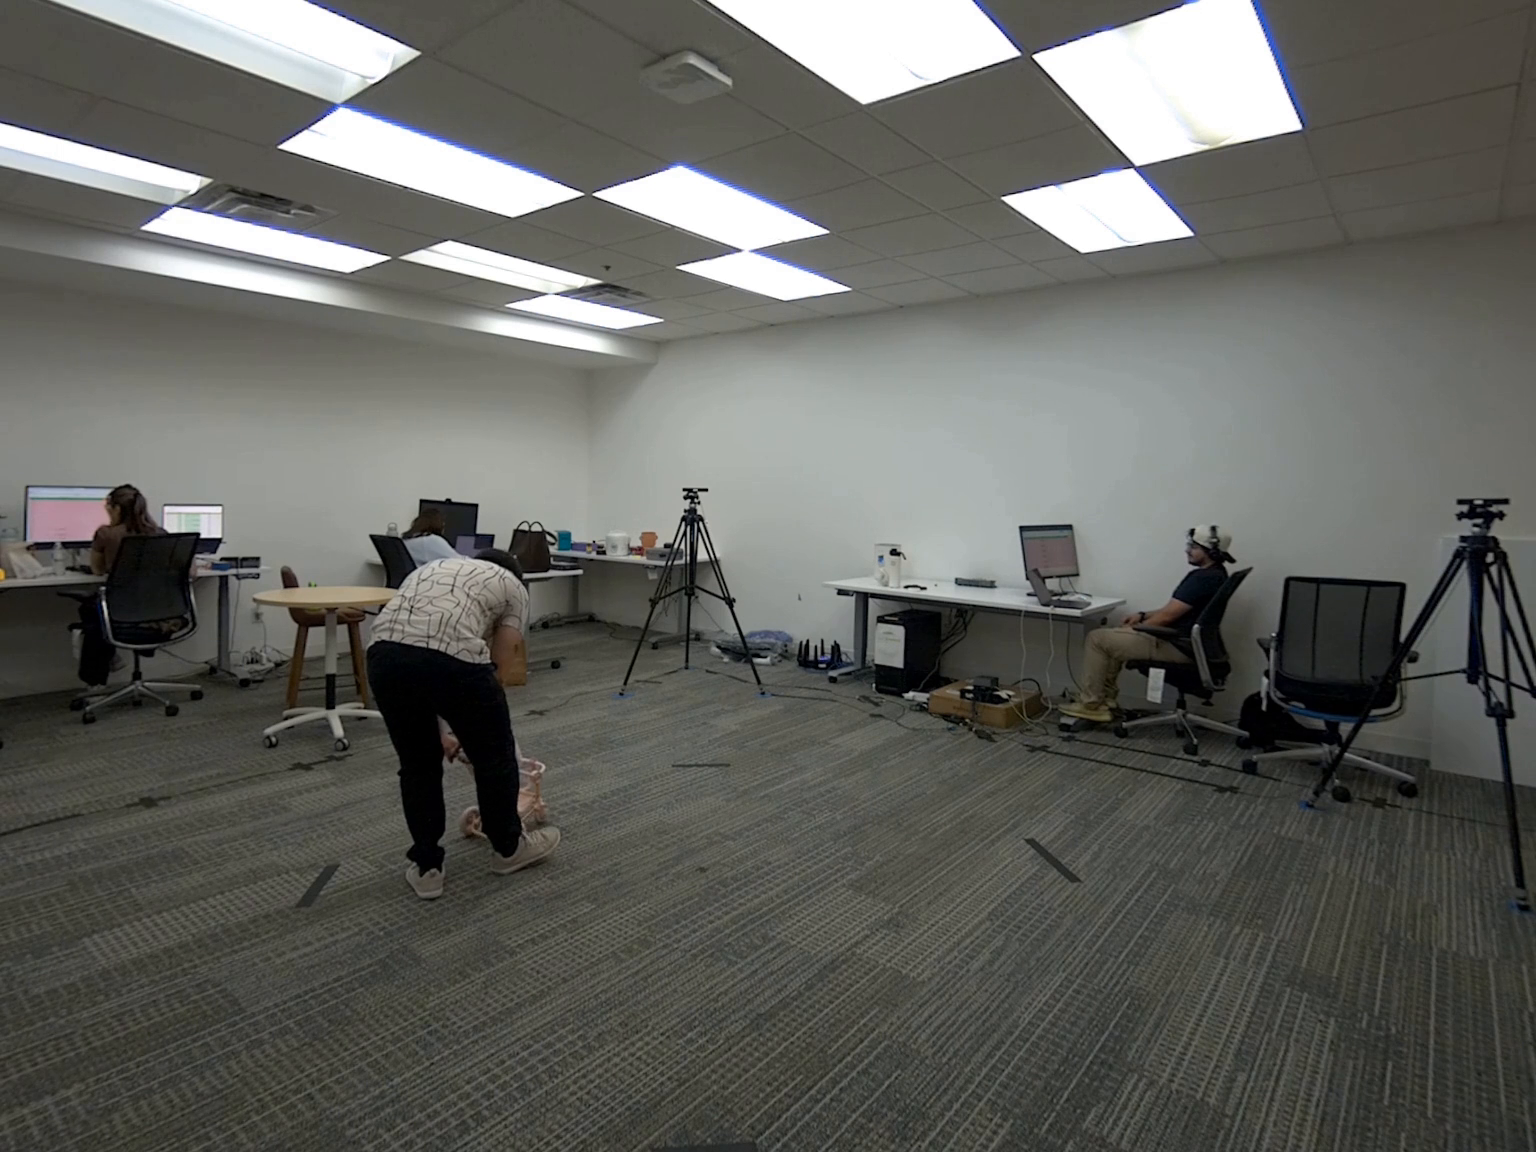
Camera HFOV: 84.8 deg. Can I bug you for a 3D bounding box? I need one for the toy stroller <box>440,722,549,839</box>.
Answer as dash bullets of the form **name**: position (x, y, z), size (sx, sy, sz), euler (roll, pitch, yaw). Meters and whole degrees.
- **toy stroller**: position (-1.045, 0.808, 3.348), size (0.291, 0.525, 0.337), euler (4, 23, 37)
